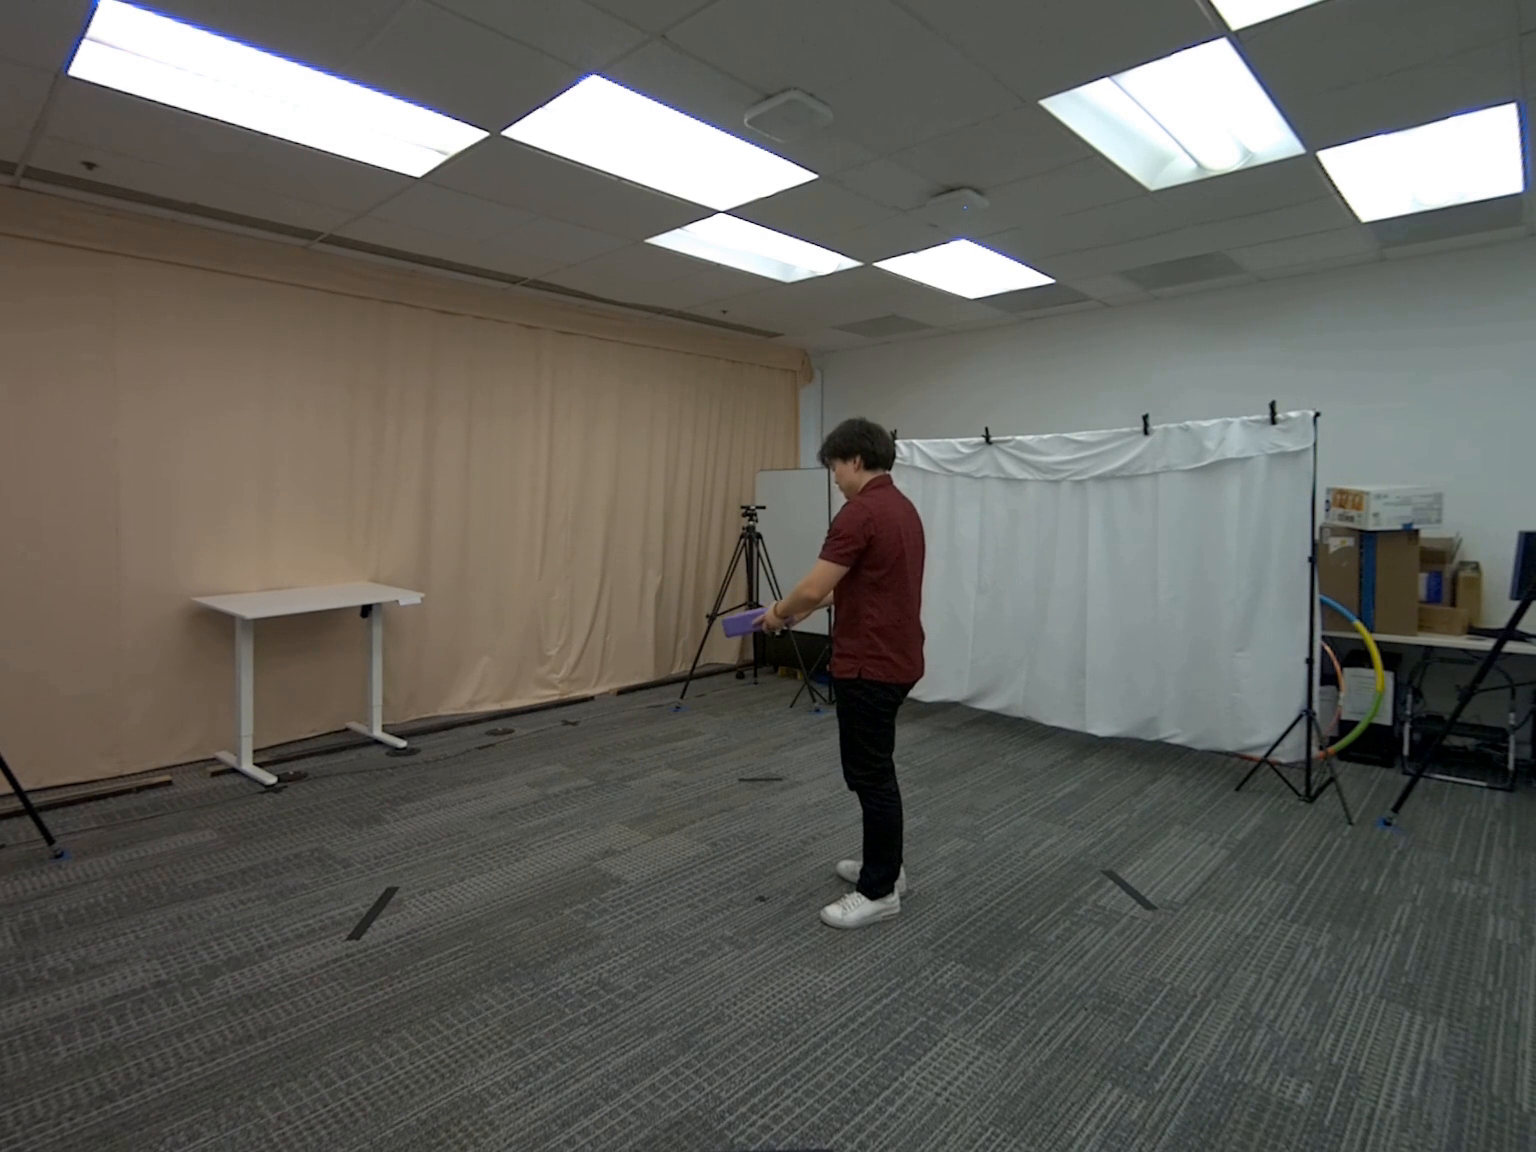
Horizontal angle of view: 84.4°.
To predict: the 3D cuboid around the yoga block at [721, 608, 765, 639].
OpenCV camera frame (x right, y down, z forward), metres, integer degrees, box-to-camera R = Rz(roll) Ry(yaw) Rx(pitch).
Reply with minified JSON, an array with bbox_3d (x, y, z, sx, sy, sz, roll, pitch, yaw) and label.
[{"bbox_3d":[-0.040,0.175,3.135,0.234,0.076,0.146,-12,0,25],"label":"yoga block"}]
